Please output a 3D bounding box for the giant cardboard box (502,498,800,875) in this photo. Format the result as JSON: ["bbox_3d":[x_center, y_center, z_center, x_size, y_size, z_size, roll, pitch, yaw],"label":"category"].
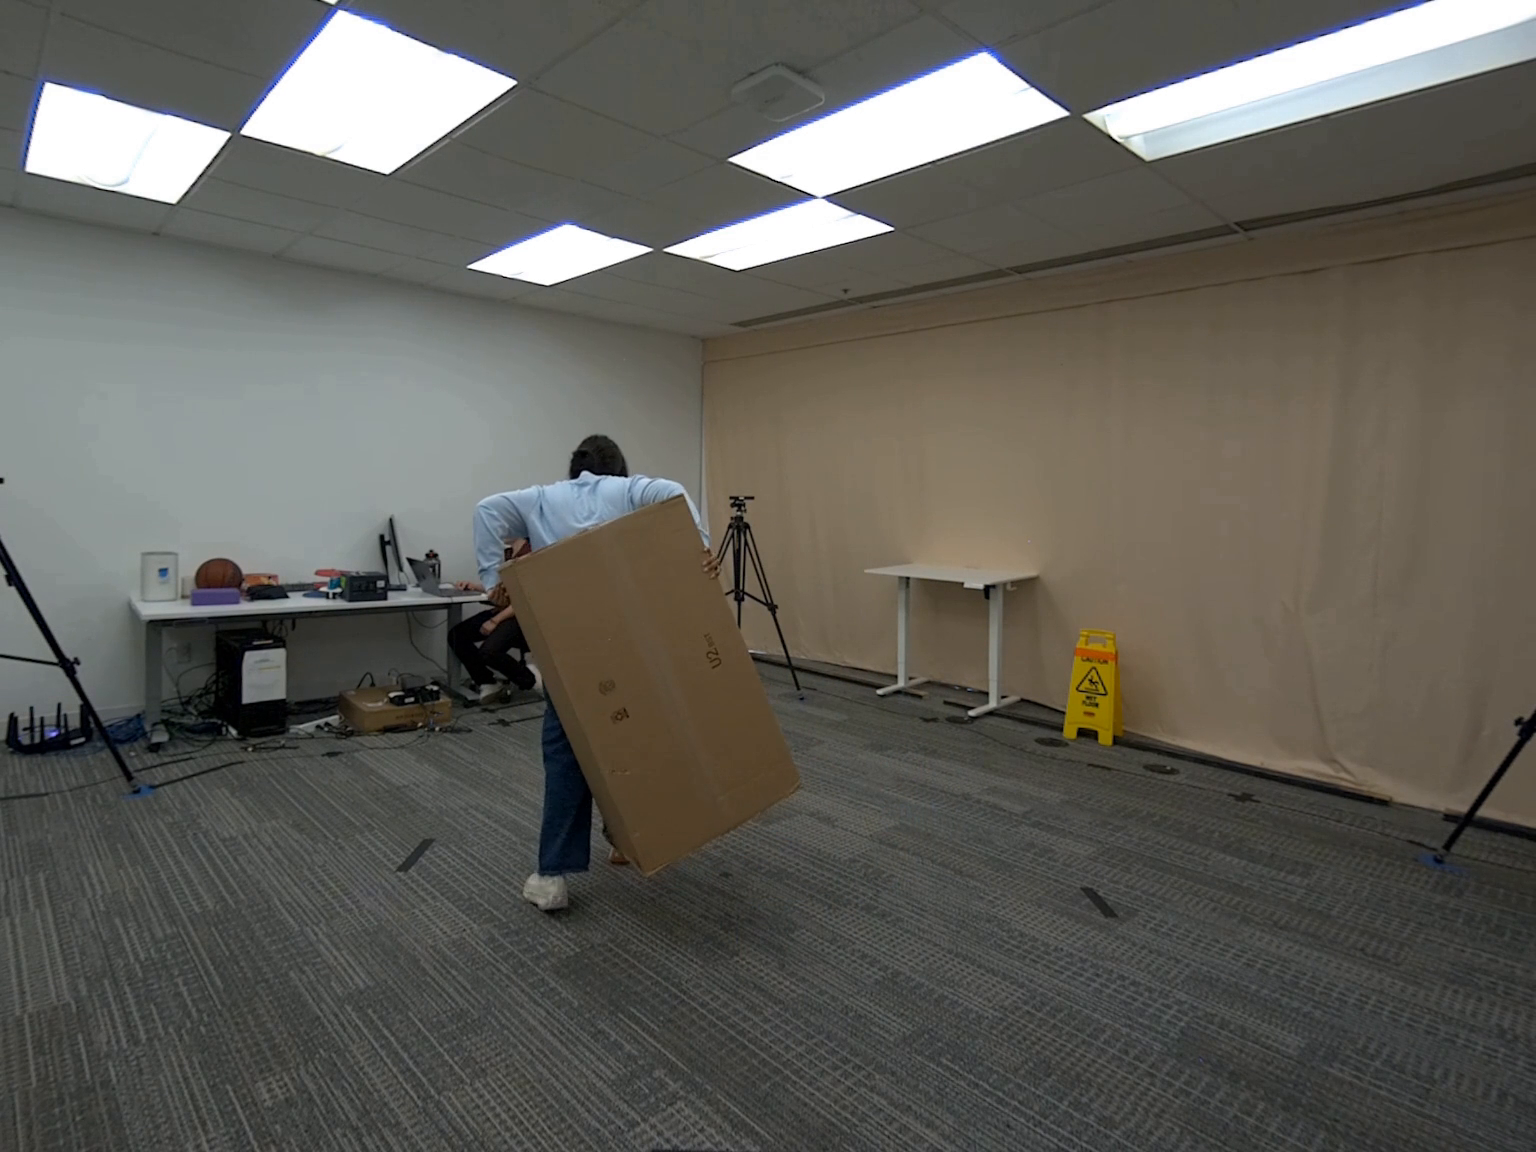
[{"bbox_3d":[-0.390,0.328,2.738,0.572,1.022,0.431,-24,4,-22],"label":"giant cardboard box"}]
